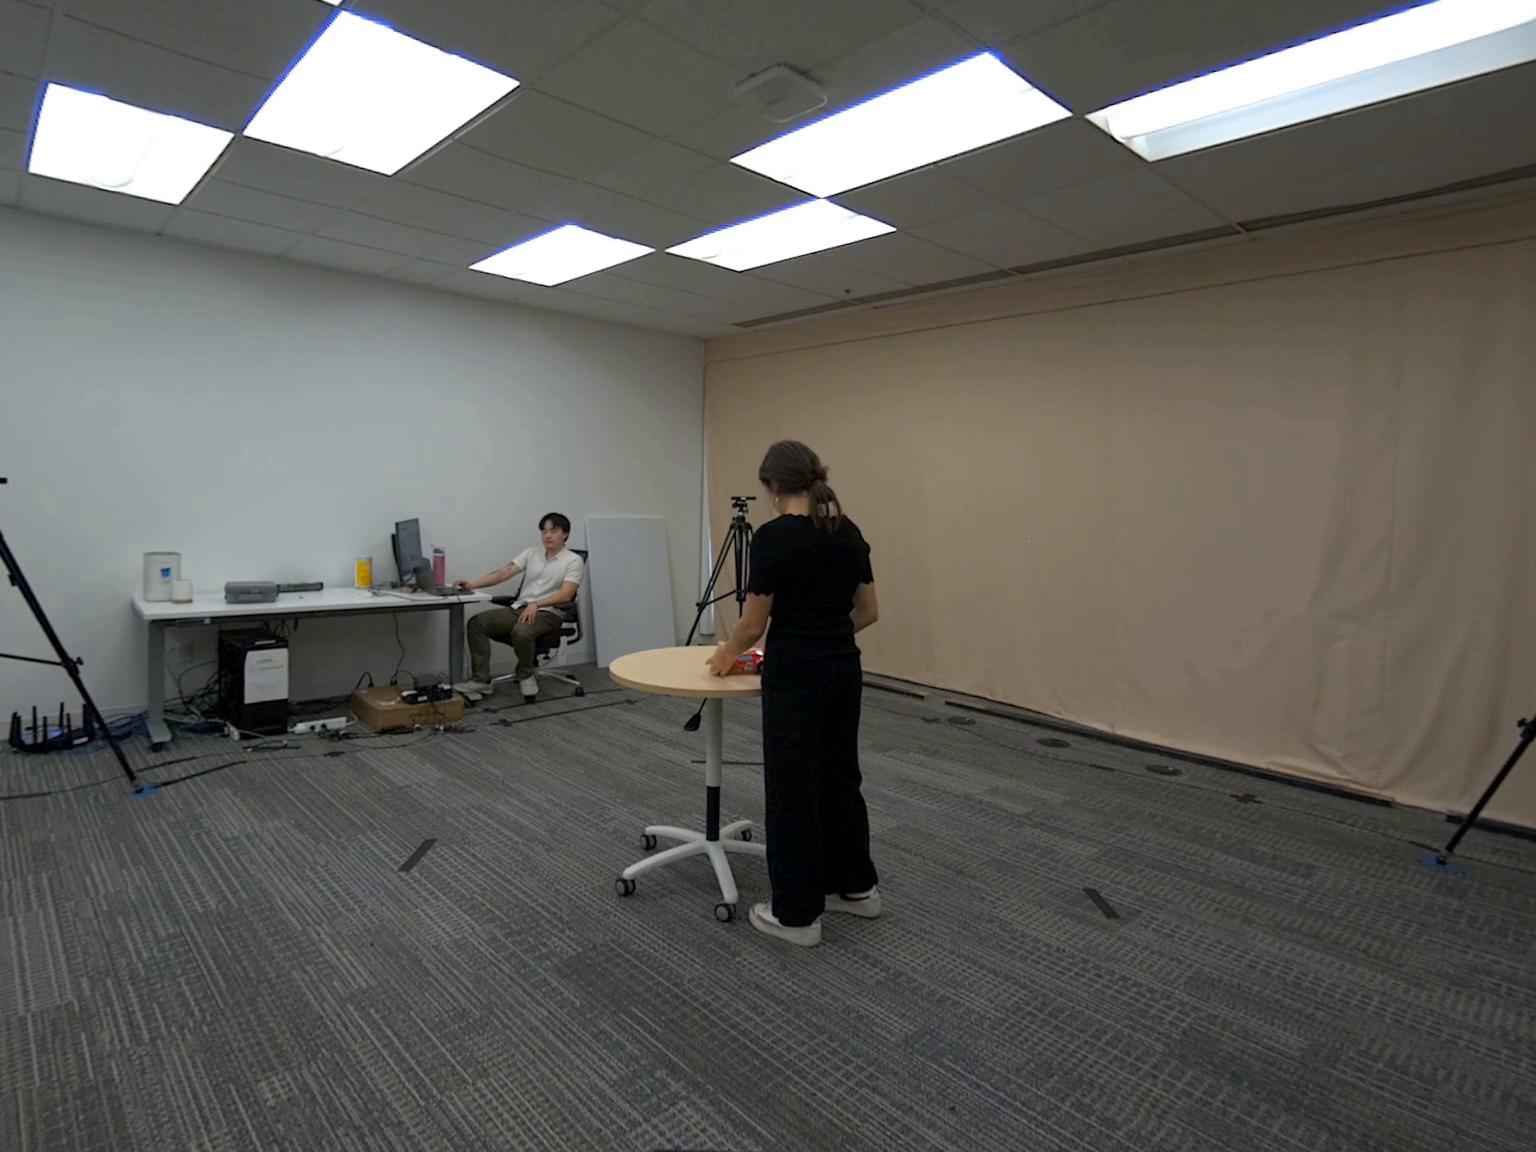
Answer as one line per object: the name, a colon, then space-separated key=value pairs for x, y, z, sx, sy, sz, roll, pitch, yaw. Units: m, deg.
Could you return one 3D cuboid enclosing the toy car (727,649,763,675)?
toy car: x=-0.074 y=0.308 z=2.941 sx=0.253 sy=0.083 sz=0.131 roll=-8 pitch=7 yaw=-7
